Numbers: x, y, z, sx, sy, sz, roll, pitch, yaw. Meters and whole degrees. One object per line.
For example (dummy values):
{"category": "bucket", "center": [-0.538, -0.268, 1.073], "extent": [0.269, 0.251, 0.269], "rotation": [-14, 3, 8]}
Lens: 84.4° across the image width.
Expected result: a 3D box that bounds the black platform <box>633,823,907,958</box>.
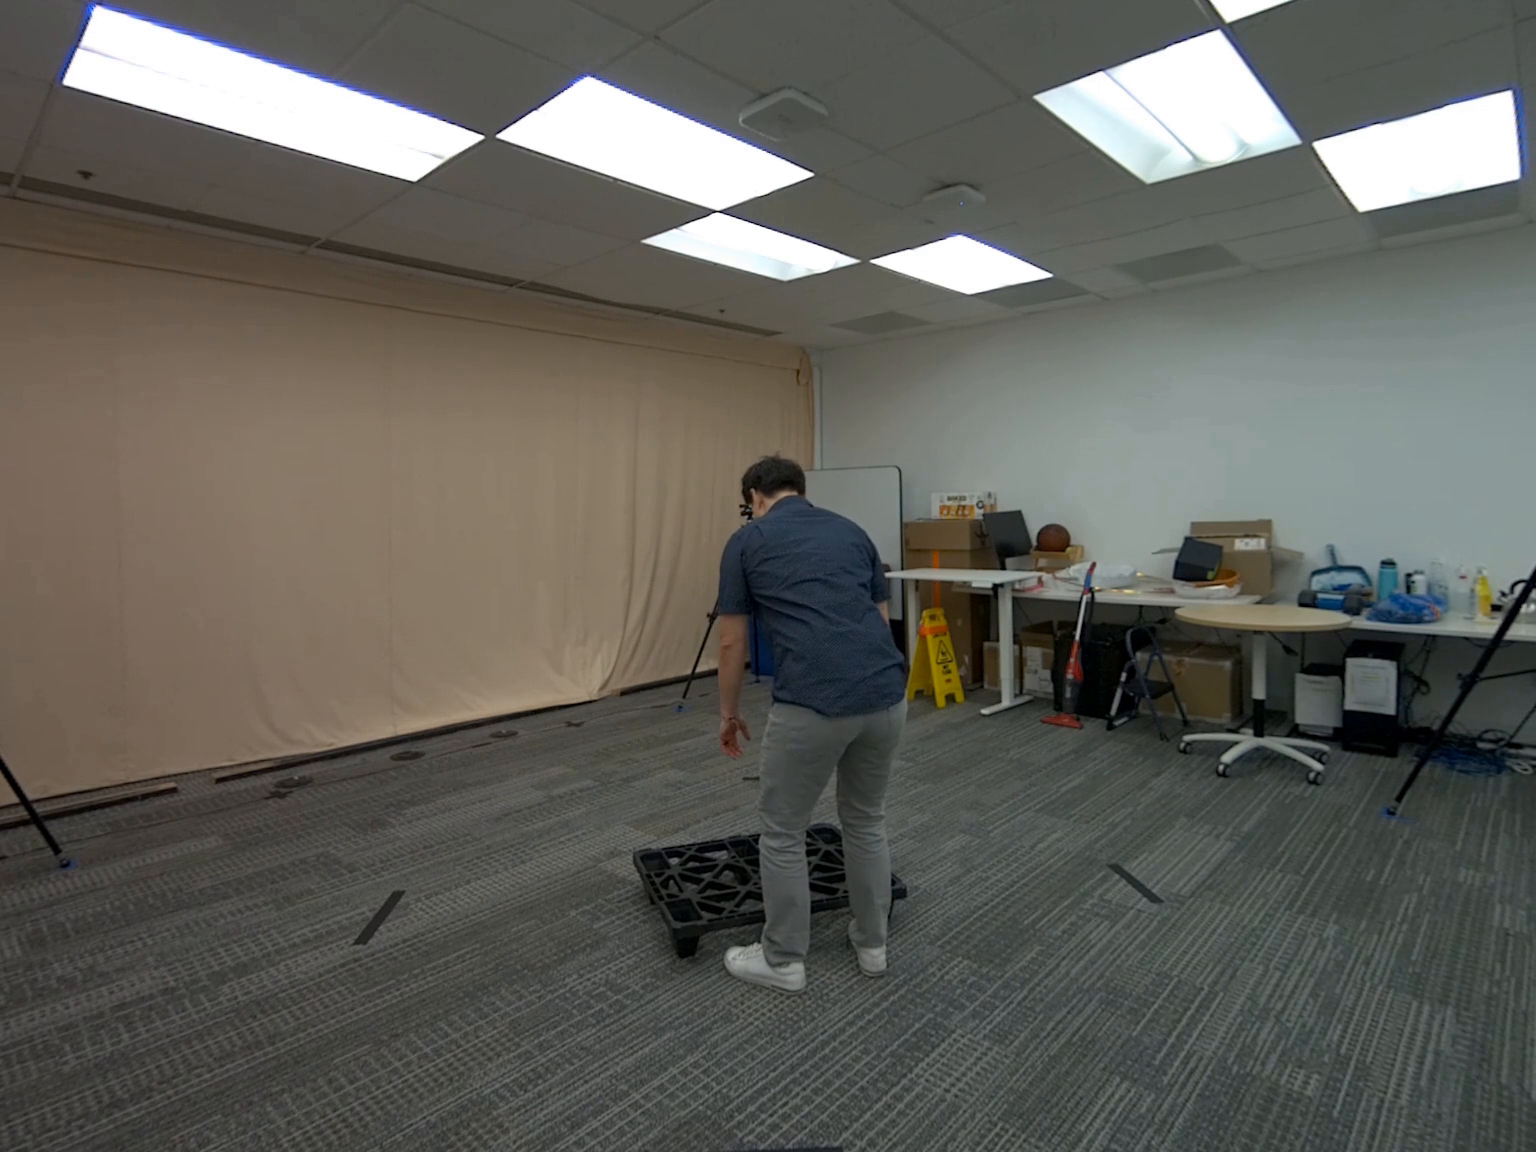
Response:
{"category": "black platform", "center": [-0.018, 1.077, 2.921], "extent": [0.791, 0.143, 0.618], "rotation": [-2, 4, -19]}
